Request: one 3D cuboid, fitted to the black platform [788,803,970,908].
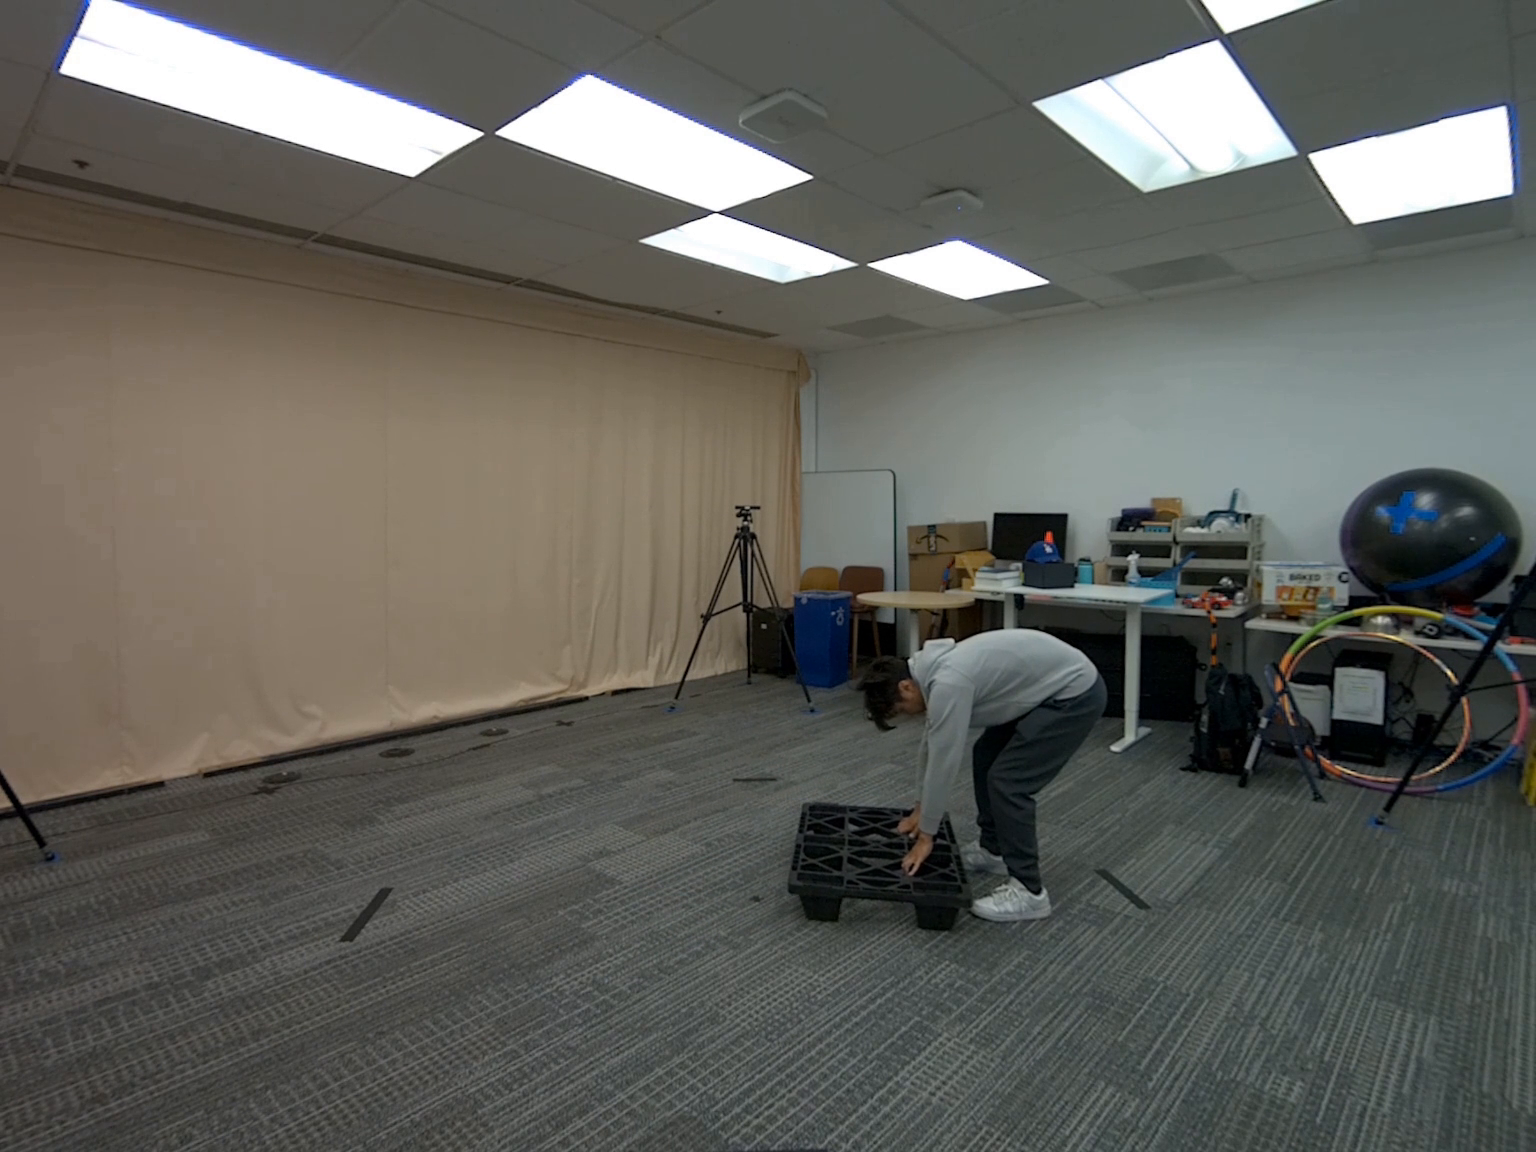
[{"bbox_3d":[0.407,1.059,3.143,0.611,0.143,0.800,1,5,7],"label":"black platform"}]
